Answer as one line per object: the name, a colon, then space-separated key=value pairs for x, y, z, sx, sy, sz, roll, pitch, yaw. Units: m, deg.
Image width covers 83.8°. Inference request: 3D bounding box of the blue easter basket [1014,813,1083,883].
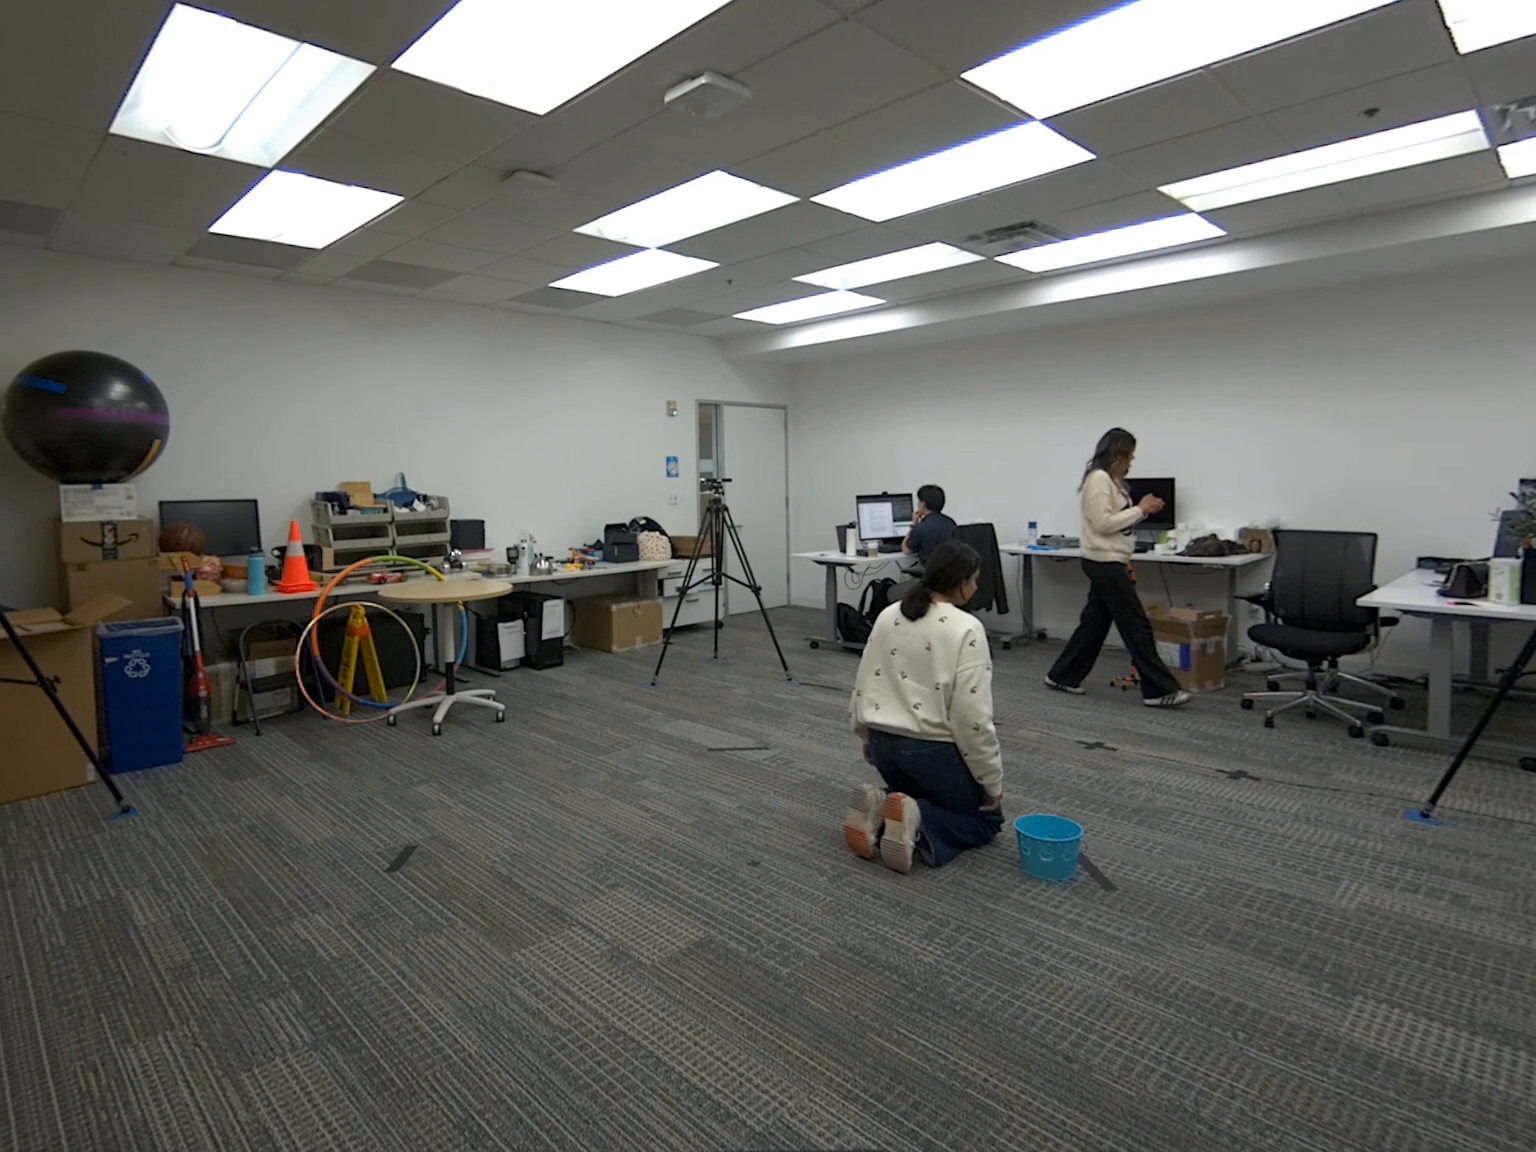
blue easter basket: x=0.979 y=0.955 z=3.012 sx=0.243 sy=0.155 sz=0.245 roll=-2 pitch=5 yaw=-2
